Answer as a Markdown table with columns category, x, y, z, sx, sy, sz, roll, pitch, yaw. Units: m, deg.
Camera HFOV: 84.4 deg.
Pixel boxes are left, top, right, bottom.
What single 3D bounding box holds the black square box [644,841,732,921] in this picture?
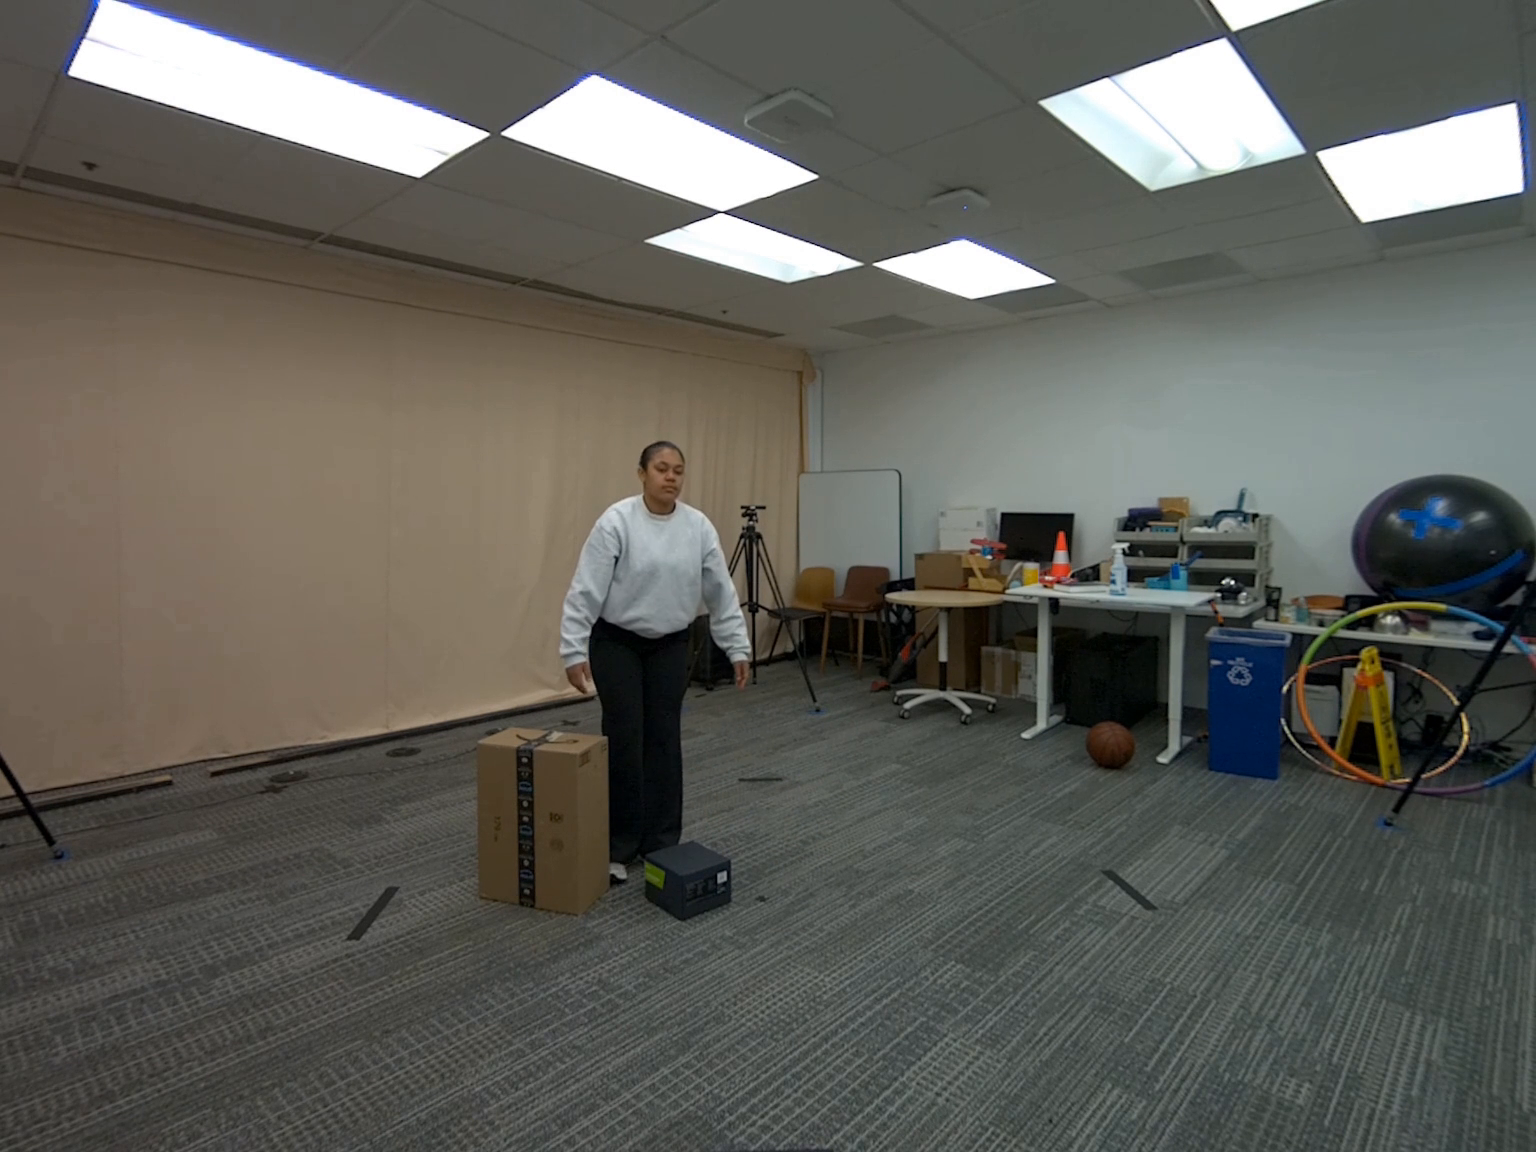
| category | x | y | z | sx | sy | sz | roll | pitch | yaw |
| --- | --- | --- | --- | --- | --- | --- | --- | --- | --- |
| black square box | -0.281 | 1.068 | 2.960 | 0.210 | 0.155 | 0.235 | -4 | 5 | -41 |
